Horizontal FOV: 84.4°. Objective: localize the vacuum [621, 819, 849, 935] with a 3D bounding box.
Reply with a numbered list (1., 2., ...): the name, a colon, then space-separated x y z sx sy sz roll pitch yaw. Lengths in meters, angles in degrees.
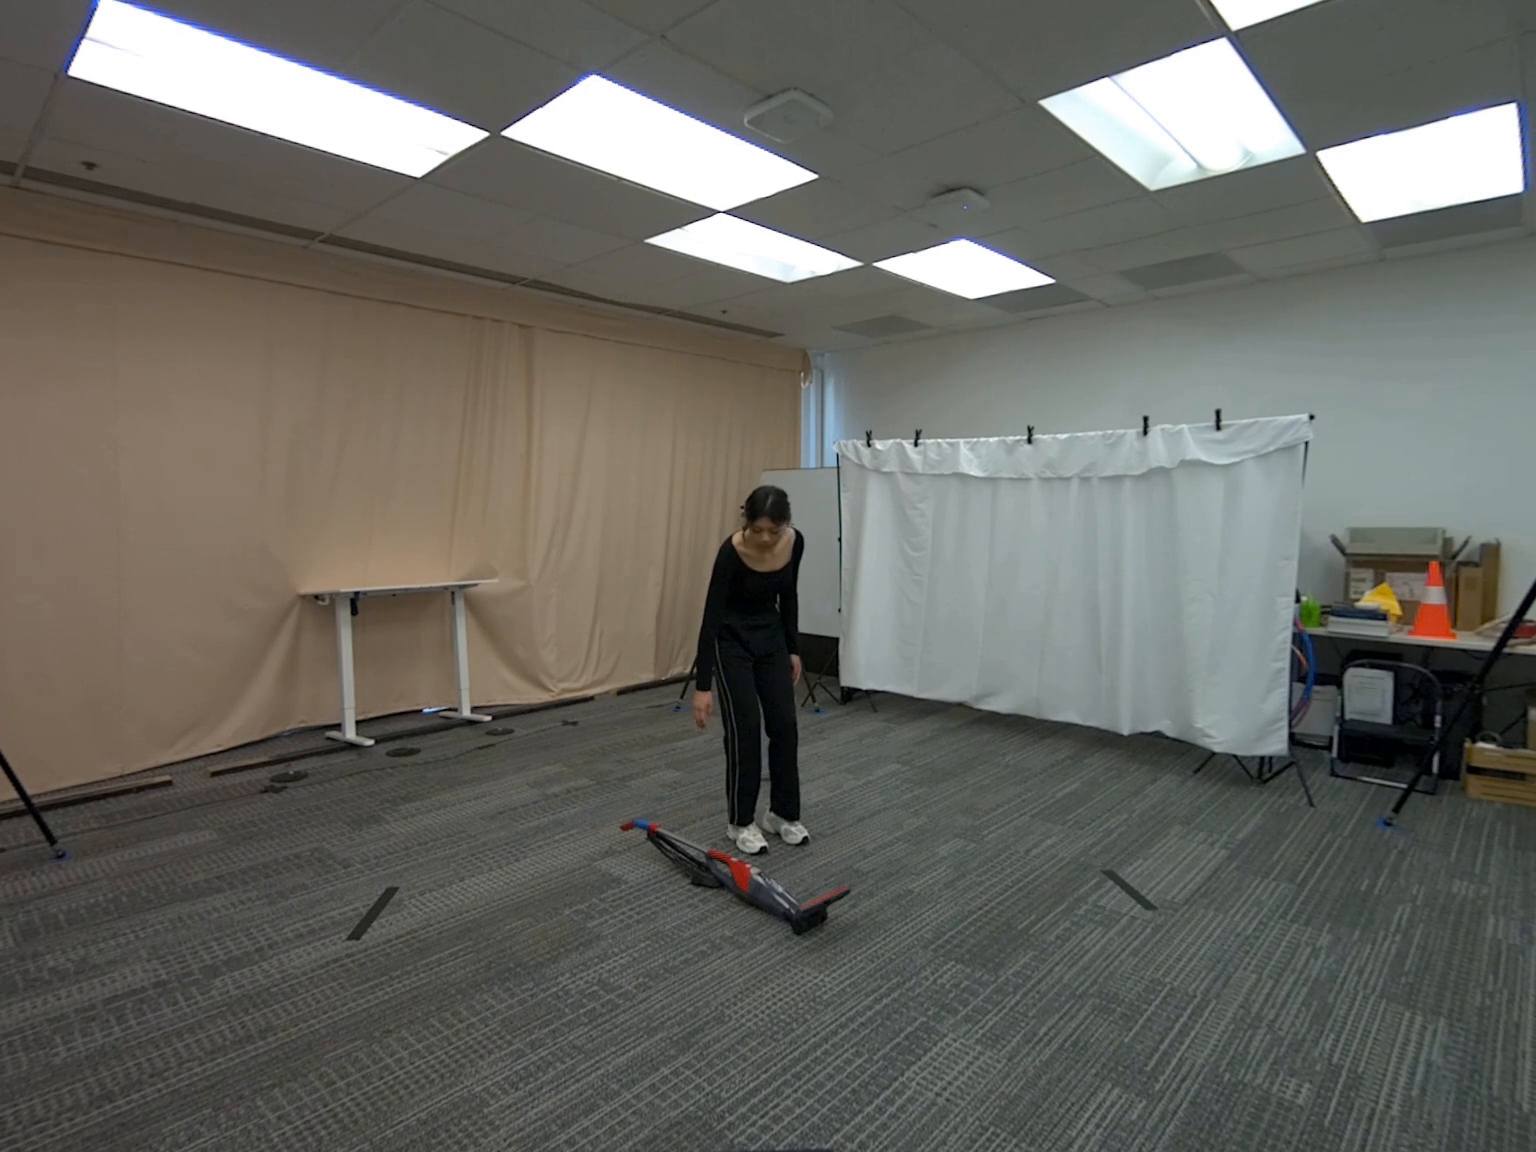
1. vacuum: -0.214 1.073 3.124 1.084 0.144 0.244 3 1 44
